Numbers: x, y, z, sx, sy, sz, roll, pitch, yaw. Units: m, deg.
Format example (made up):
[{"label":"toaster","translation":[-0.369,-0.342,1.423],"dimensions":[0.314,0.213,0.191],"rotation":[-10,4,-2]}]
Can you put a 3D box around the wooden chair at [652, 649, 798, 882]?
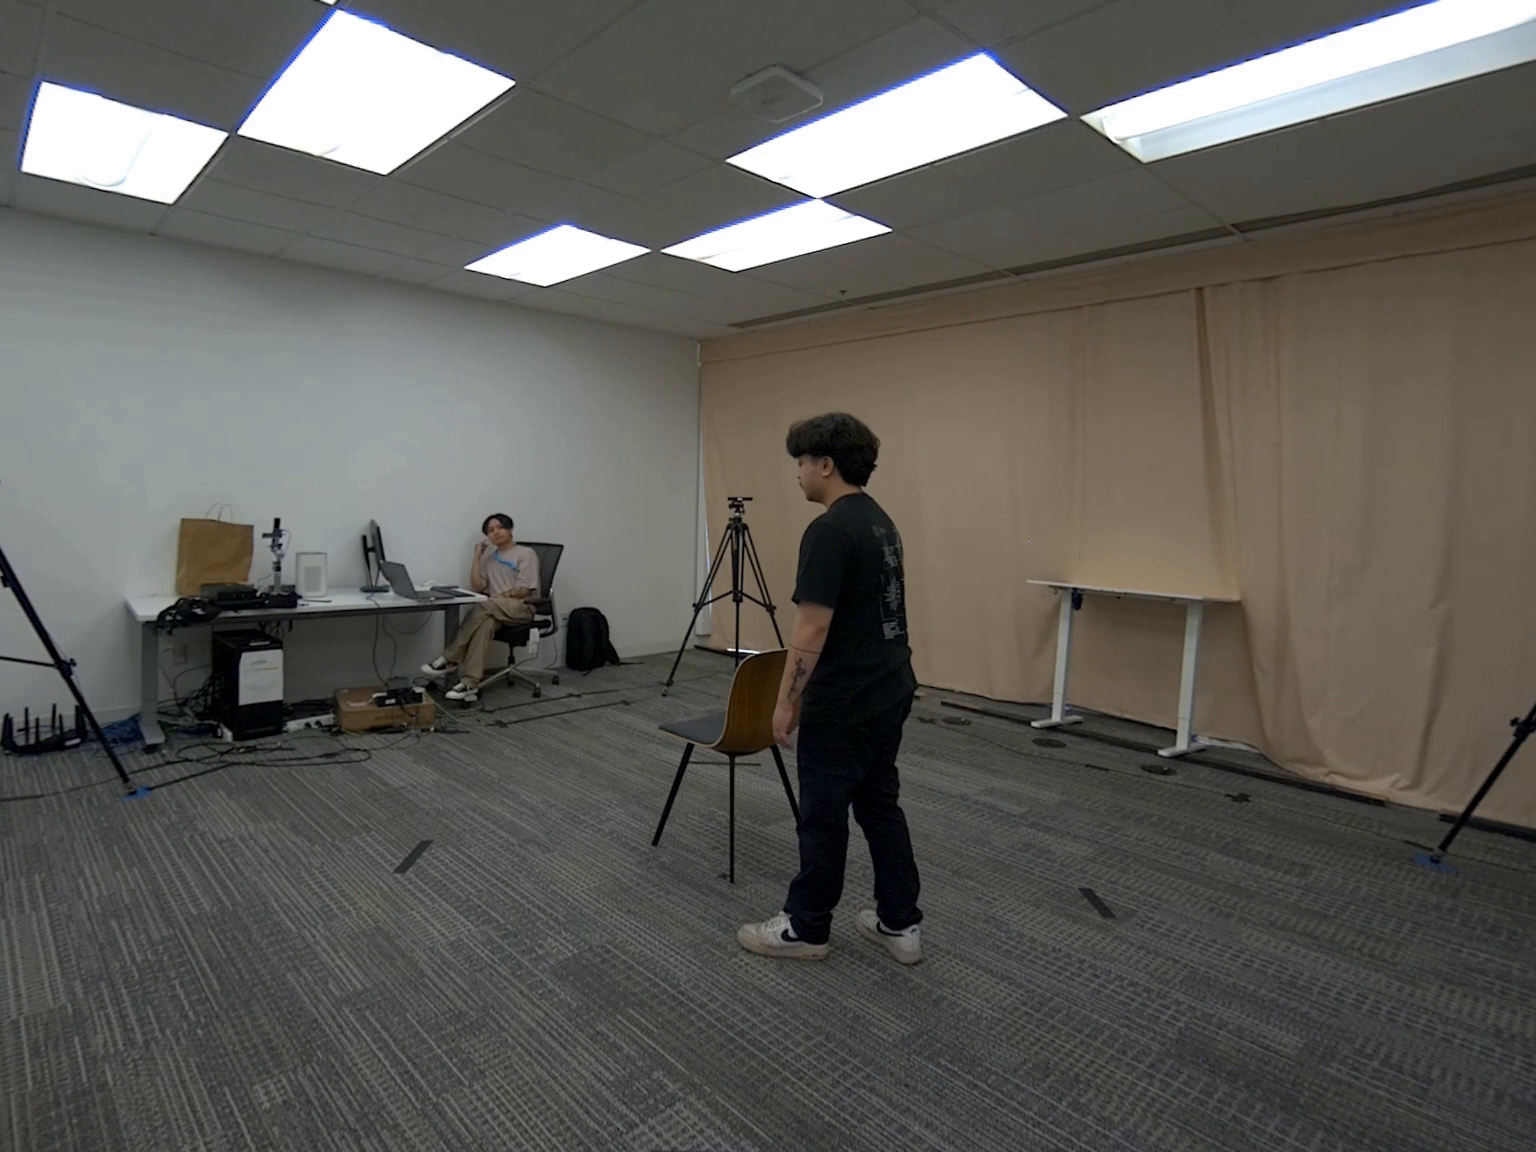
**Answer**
[{"label":"wooden chair","translation":[-0.147,0.660,3.332],"dimensions":[0.537,0.873,0.467],"rotation":[11,9,43]}]
